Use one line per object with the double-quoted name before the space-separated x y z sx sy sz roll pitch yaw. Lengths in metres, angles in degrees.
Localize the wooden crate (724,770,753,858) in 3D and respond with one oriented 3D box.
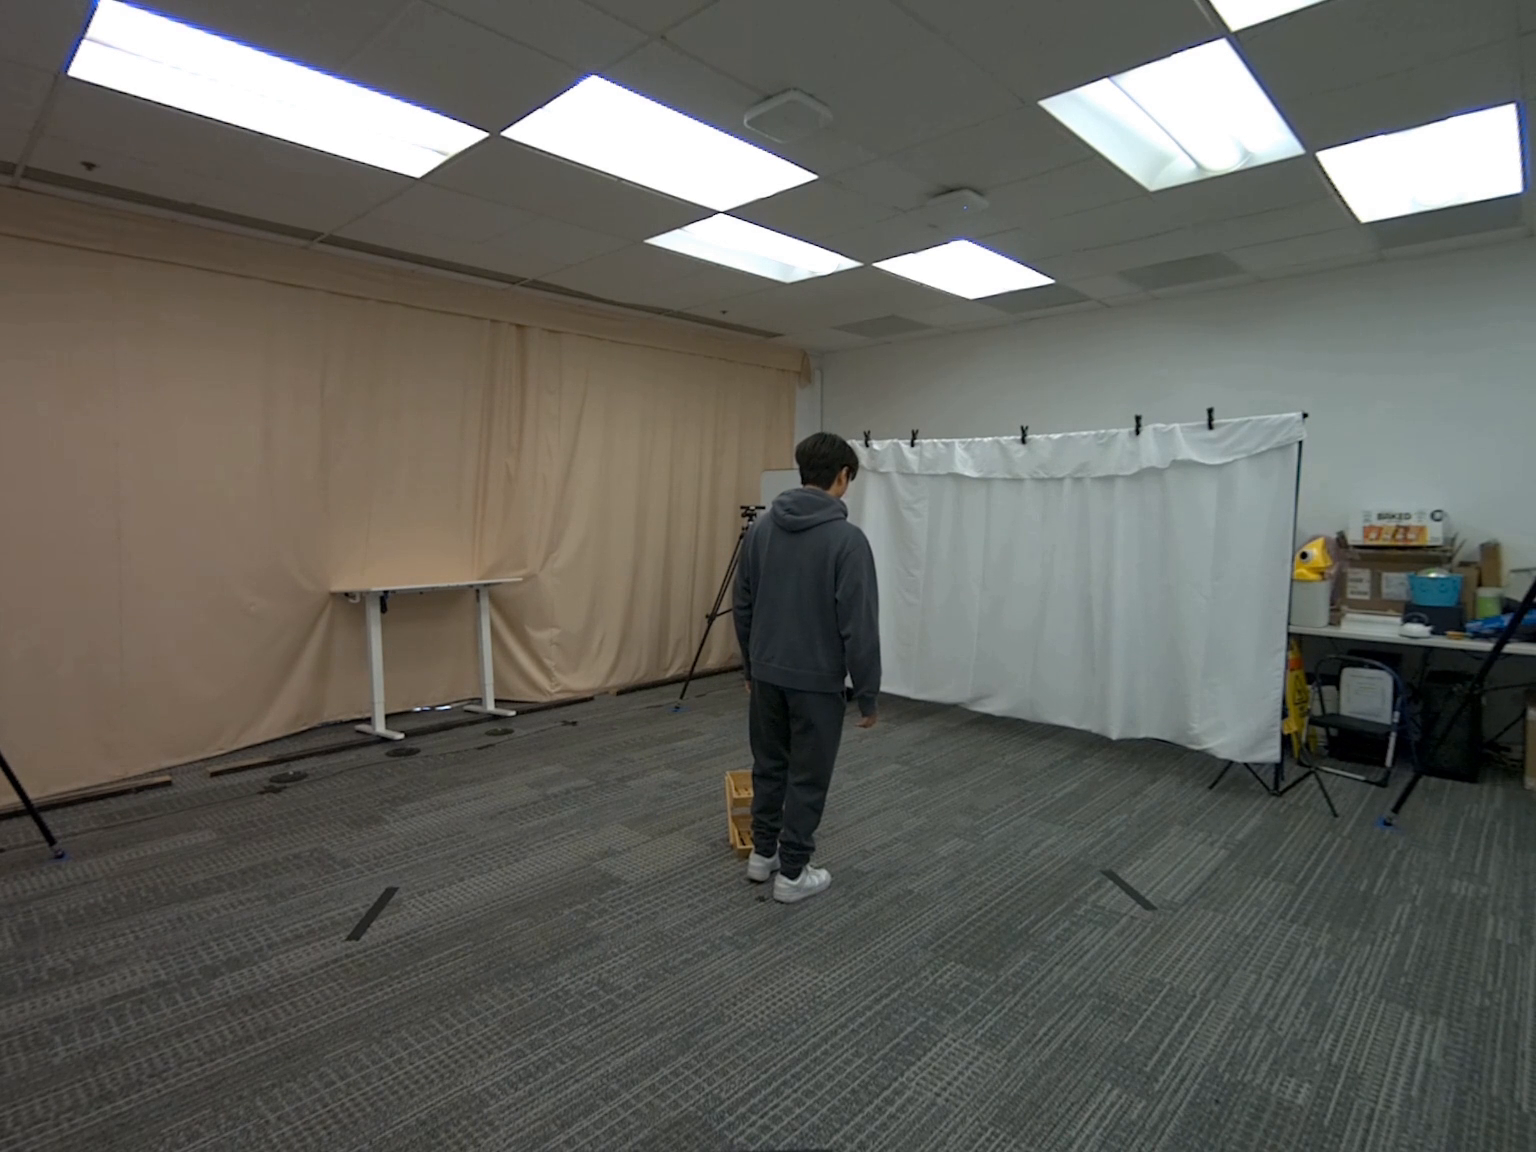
"wooden crate" -0.001 0.968 3.468 0.321 0.273 0.305 -1 3 -10
